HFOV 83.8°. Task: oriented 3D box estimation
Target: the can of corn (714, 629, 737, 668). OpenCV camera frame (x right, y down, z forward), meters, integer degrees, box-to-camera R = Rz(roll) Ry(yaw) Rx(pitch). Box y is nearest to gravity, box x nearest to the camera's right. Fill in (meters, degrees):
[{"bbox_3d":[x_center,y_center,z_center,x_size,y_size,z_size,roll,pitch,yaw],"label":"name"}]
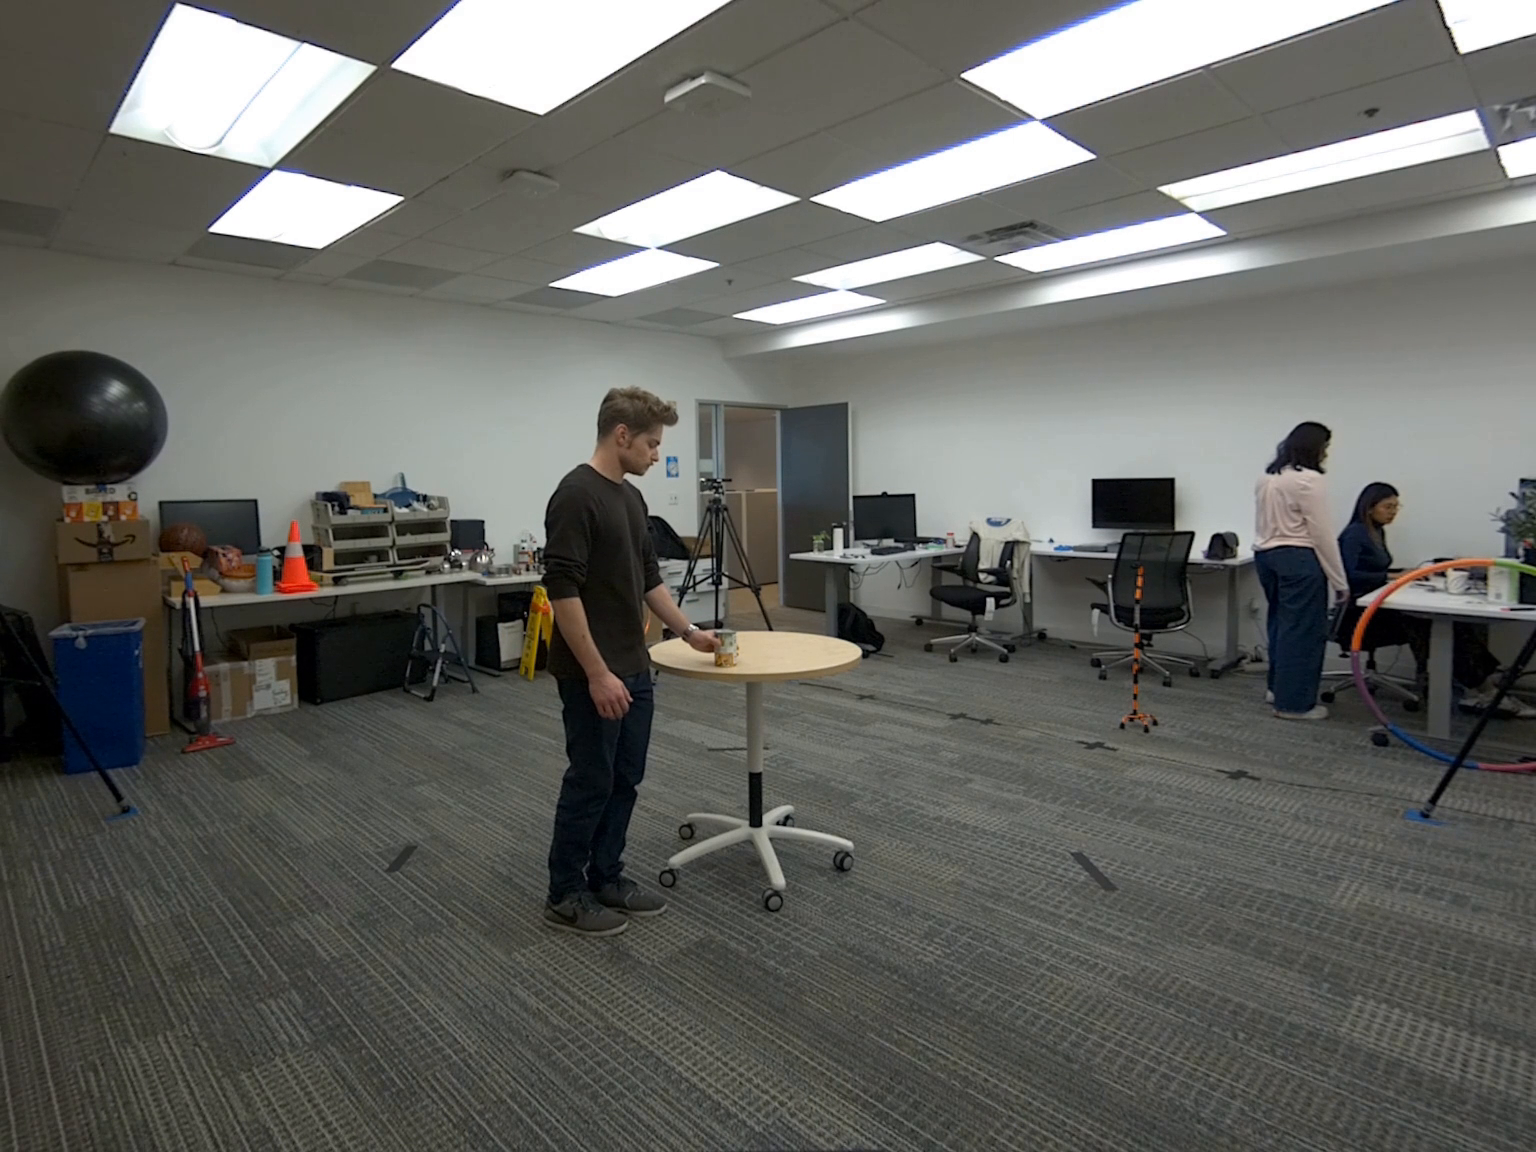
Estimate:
[{"bbox_3d":[-0.139,0.234,2.814,0.074,0.110,0.074,-2,5,-2],"label":"can of corn"}]
